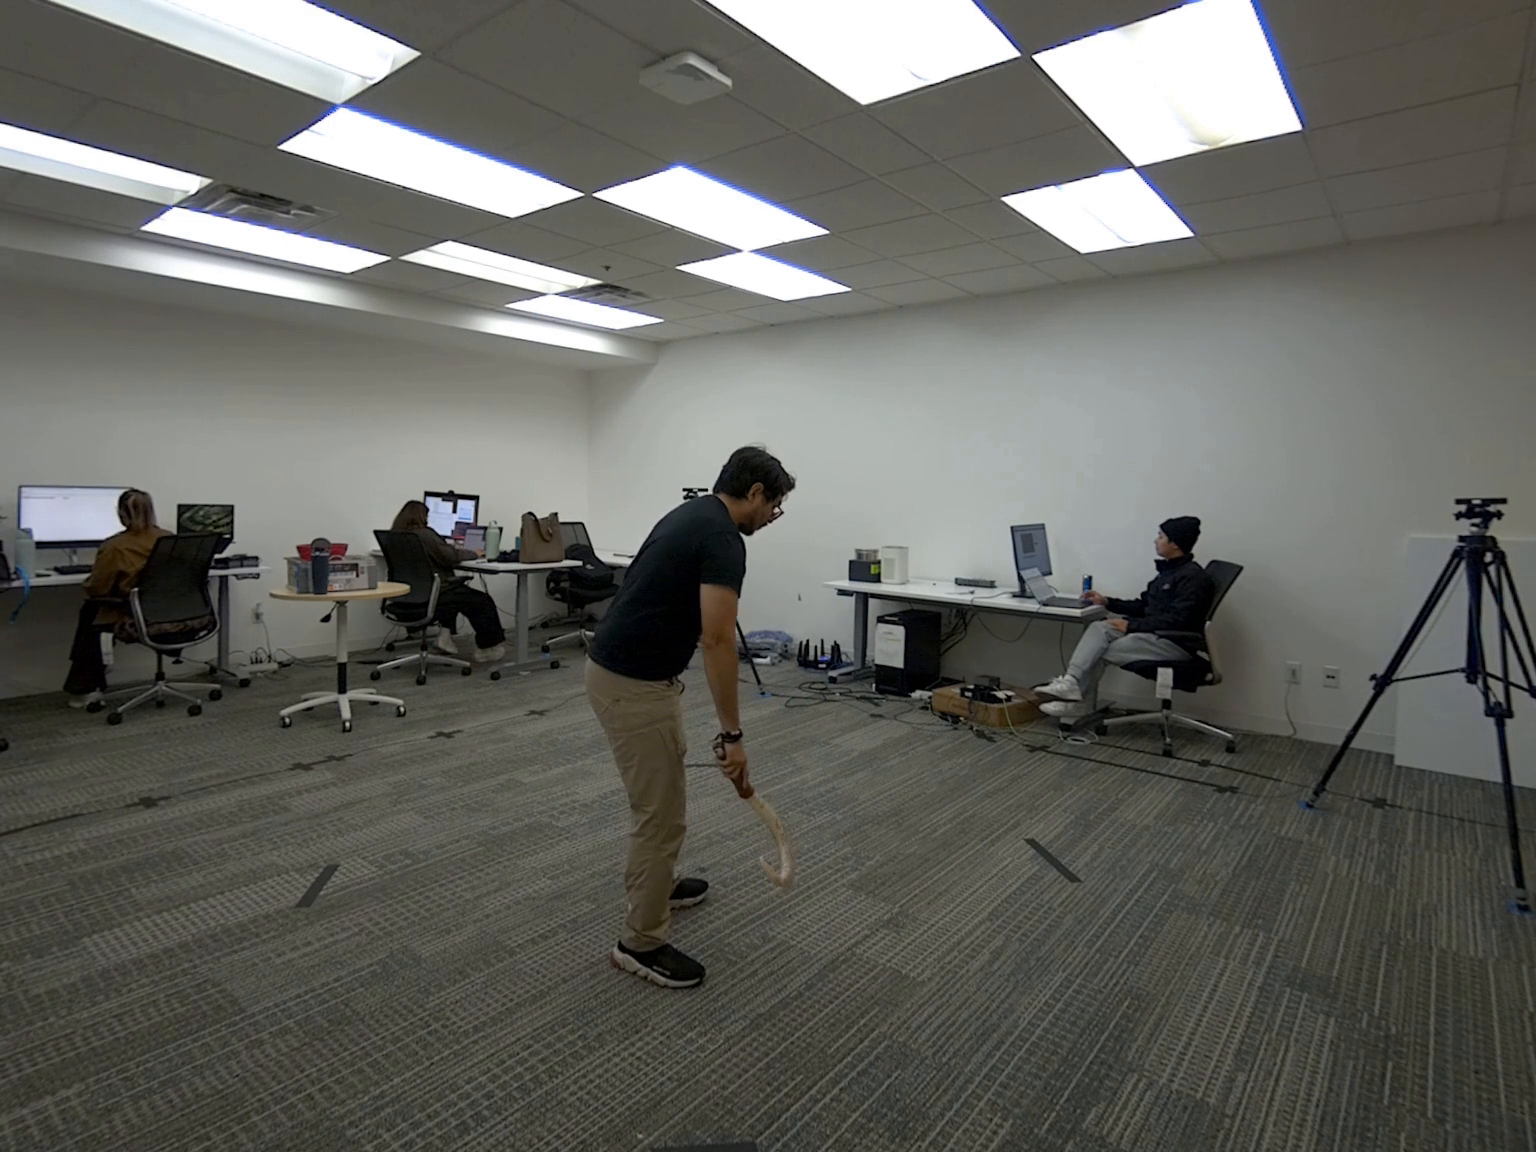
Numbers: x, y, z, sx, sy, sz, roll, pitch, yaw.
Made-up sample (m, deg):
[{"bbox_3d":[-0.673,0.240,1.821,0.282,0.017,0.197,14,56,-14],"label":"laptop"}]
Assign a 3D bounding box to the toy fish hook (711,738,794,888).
[{"bbox_3d":[-0.037,0.686,2.388,0.049,0.492,0.229,-23,25,12],"label":"toy fish hook"}]
